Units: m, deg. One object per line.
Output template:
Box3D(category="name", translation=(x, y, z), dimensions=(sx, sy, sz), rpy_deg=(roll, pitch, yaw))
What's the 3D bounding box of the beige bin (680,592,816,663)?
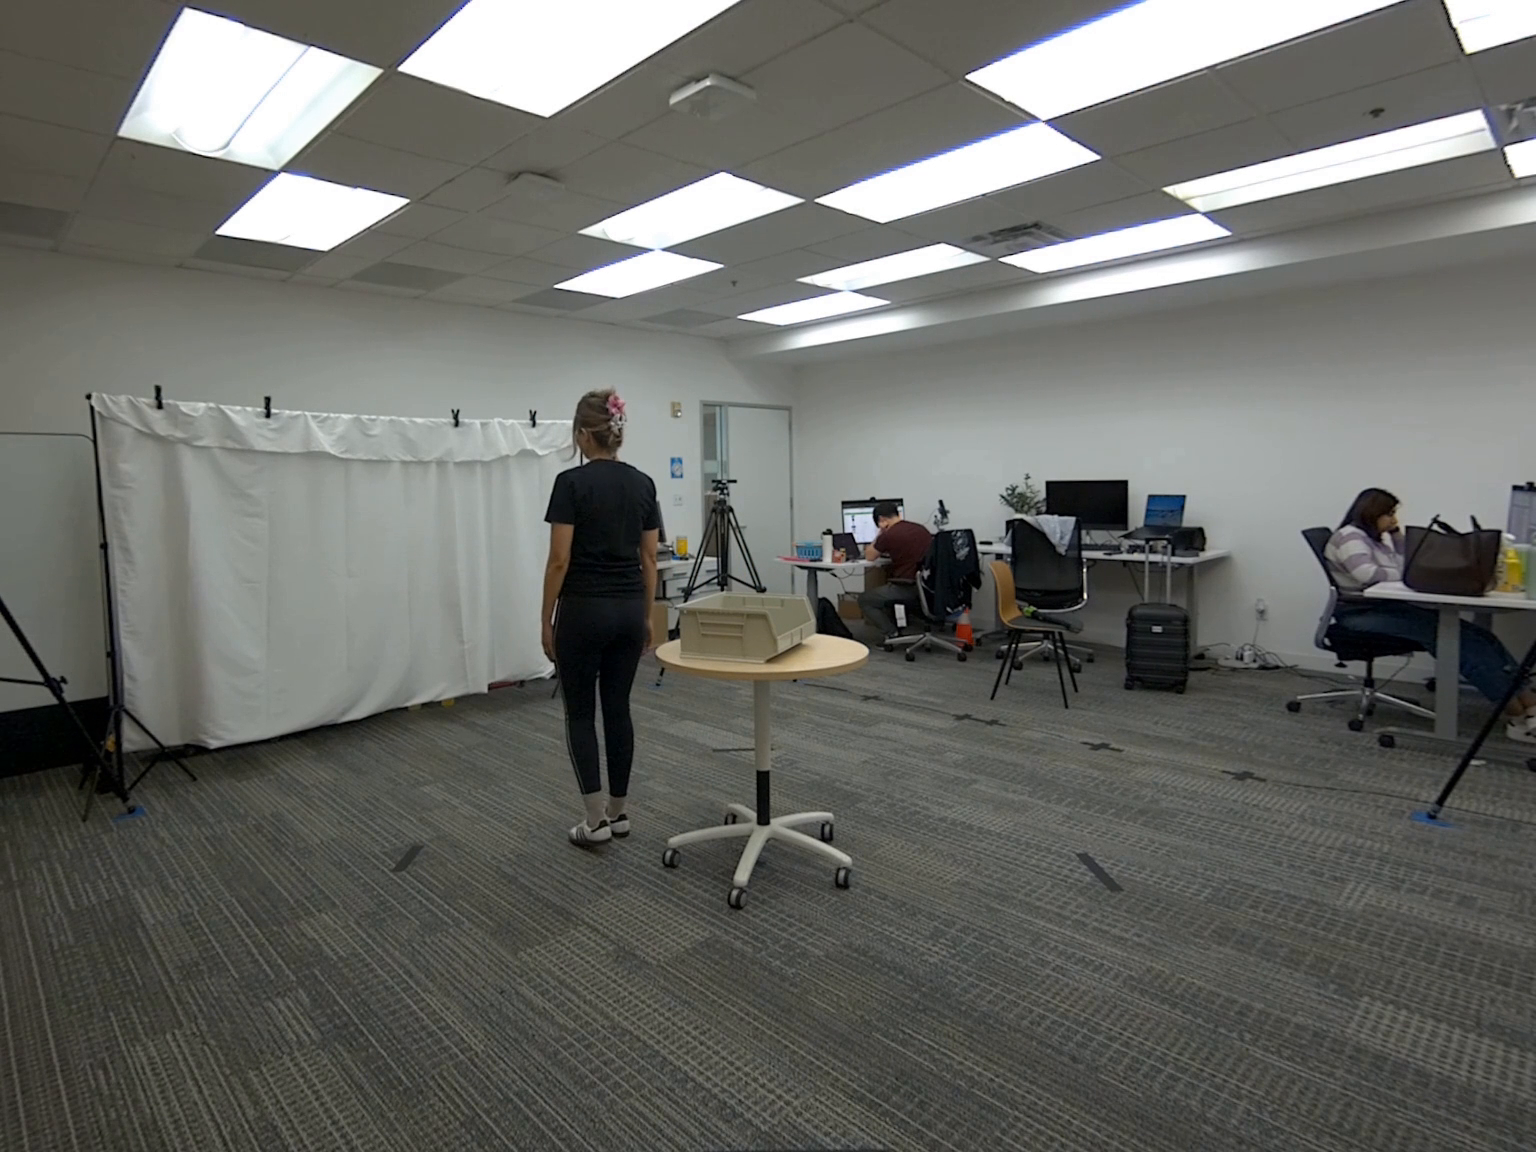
Box3D(category="beige bin", translation=(-0.076, 0.180, 3.063), dimensions=(0.385, 0.188, 0.415), rpy_deg=(1, 6, 22))
